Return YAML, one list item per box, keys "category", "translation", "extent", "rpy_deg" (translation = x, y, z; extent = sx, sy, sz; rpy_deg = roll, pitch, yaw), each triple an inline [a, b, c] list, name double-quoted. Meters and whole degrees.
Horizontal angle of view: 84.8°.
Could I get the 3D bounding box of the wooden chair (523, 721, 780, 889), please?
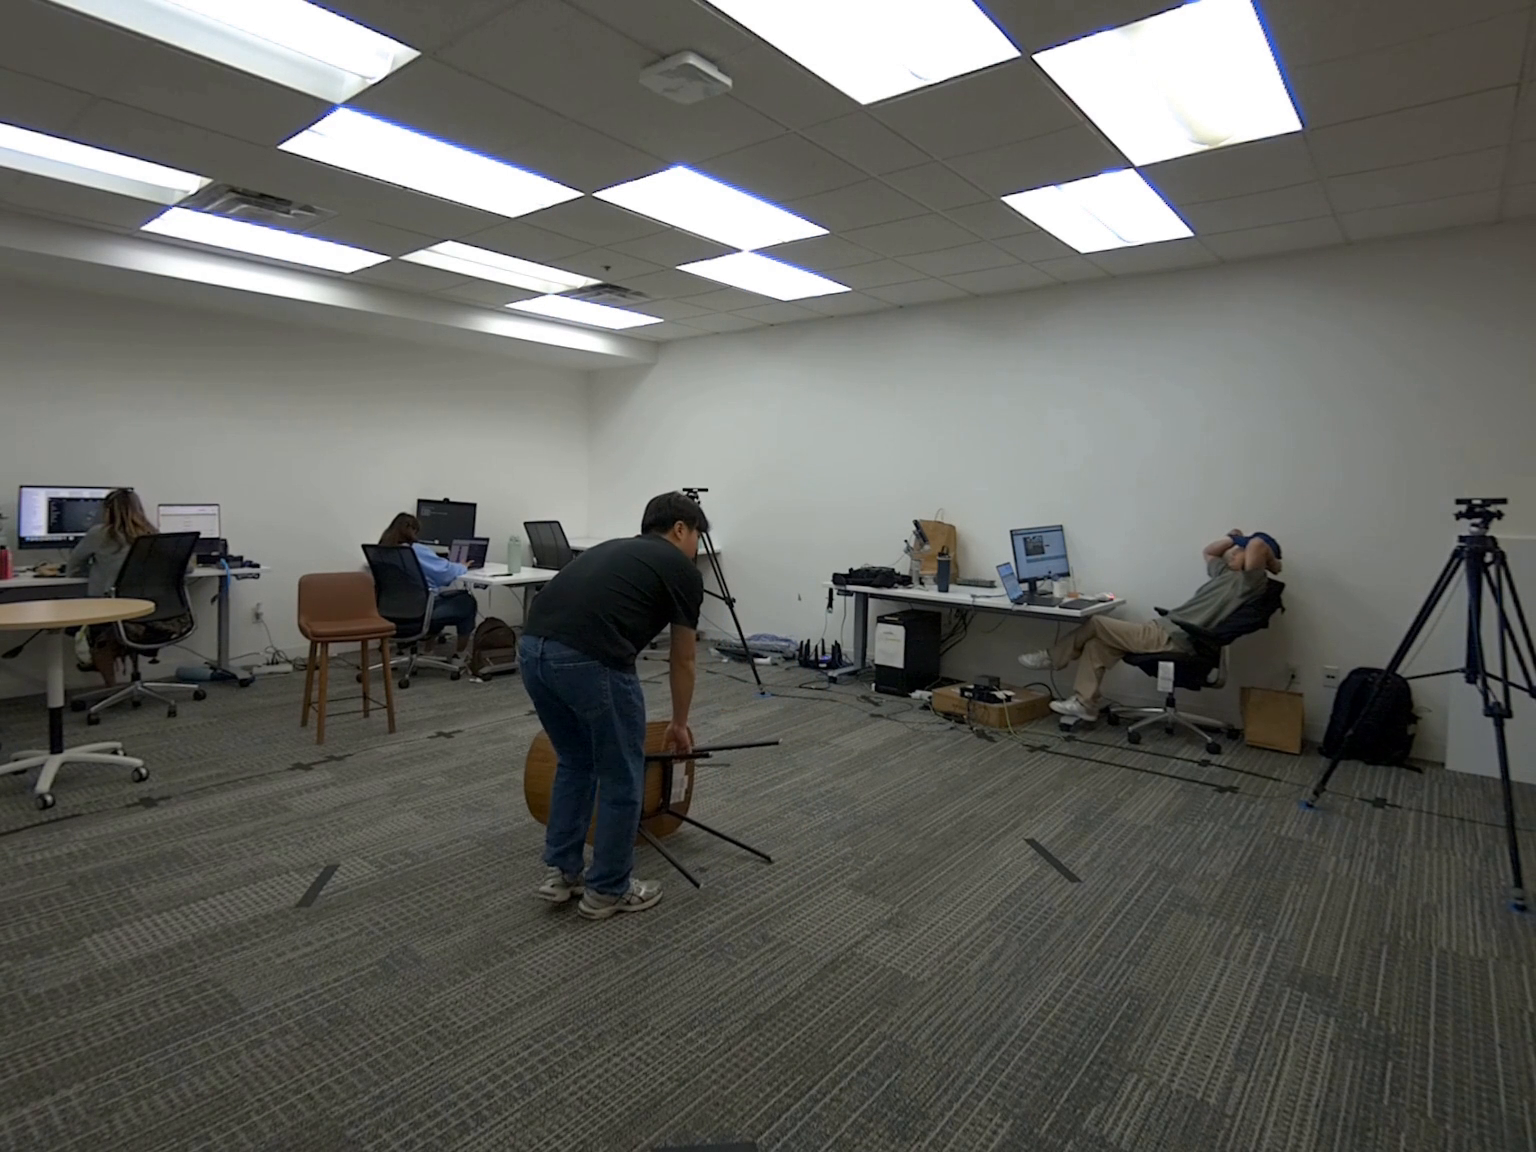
- category: "wooden chair"
  translation: [-0.455, 0.807, 3.276]
  extent: [0.903, 0.479, 0.507]
  rpy_deg: [3, -2, 31]
